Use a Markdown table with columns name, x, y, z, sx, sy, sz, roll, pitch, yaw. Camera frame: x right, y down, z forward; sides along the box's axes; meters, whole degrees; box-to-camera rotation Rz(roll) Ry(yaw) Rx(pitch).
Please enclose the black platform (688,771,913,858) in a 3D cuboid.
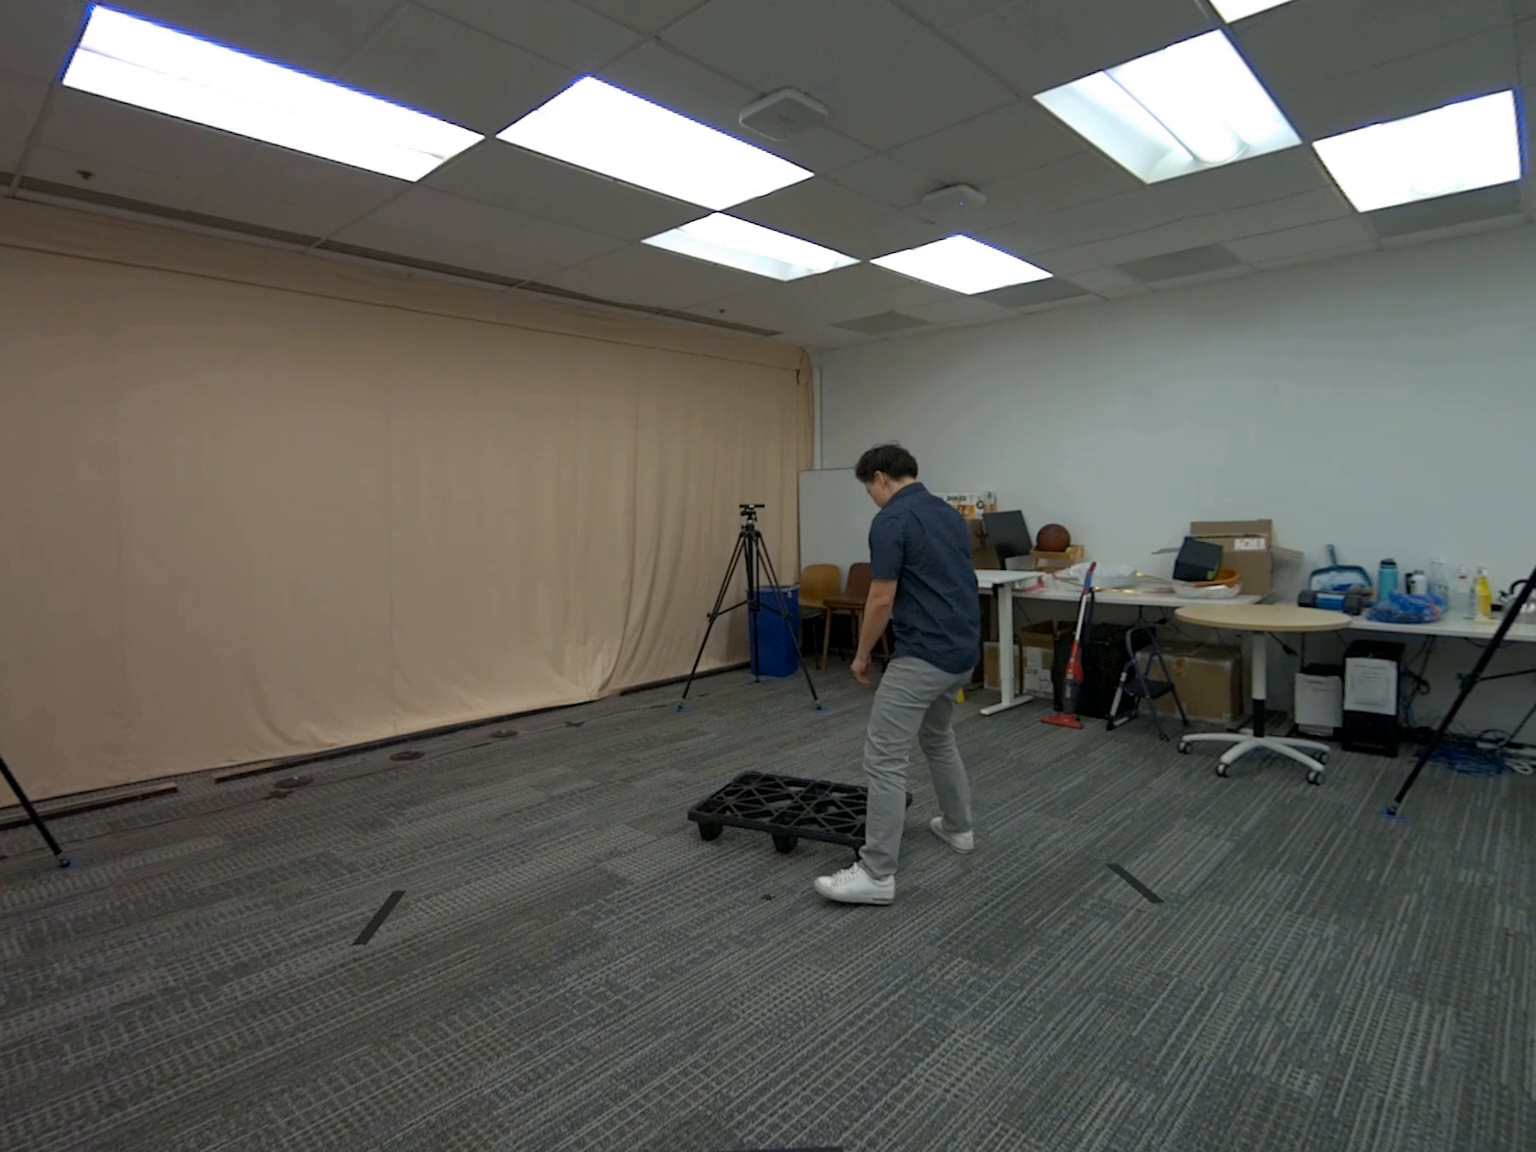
| name | x | y | z | sx | sy | sz | roll | pitch | yaw |
| --- | --- | --- | --- | --- | --- | --- | --- | --- | --- |
| black platform | 0.149 | 1.017 | 3.552 | 0.826 | 0.143 | 0.591 | 1 | 5 | 25 |
